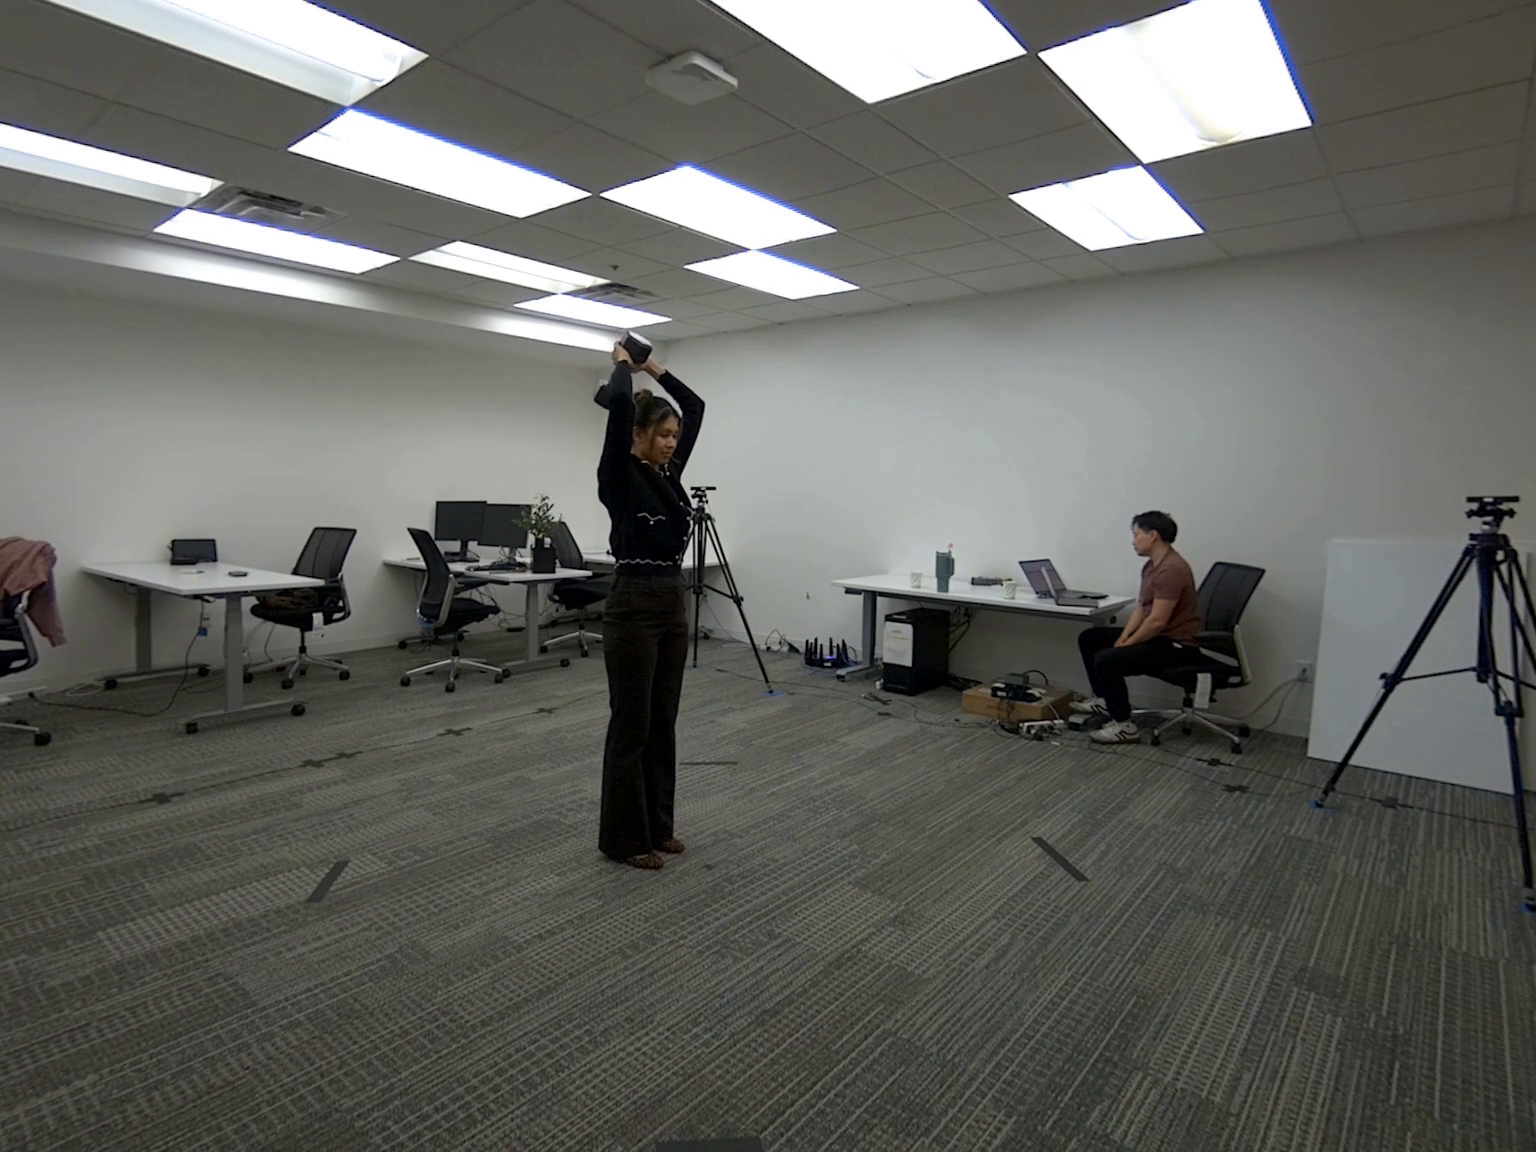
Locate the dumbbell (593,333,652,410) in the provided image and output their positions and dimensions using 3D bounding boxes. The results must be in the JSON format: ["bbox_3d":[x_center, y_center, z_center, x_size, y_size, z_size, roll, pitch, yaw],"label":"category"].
[{"bbox_3d":[-0.560,-0.773,3.204,0.124,0.292,0.108,34,20,3],"label":"dumbbell"}]
